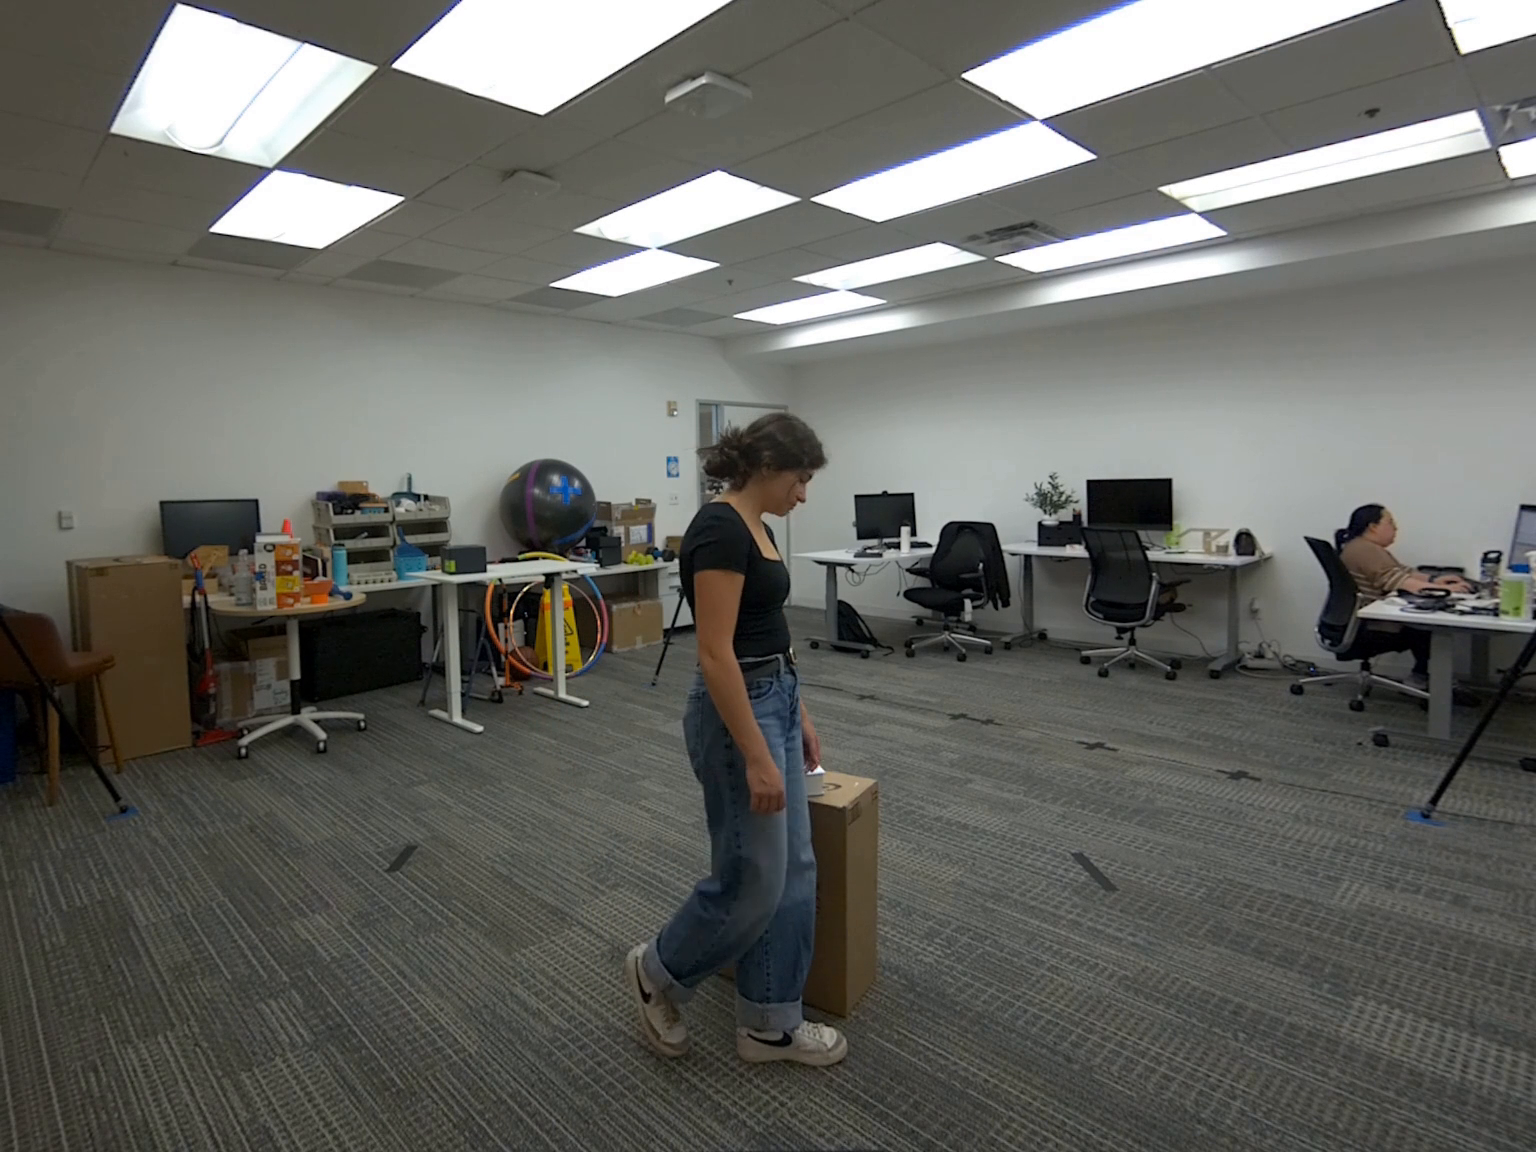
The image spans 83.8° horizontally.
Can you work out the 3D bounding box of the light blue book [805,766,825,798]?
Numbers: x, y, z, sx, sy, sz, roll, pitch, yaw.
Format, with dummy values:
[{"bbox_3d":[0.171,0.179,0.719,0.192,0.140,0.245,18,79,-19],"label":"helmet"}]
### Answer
[{"bbox_3d":[0.042,0.544,2.362,0.189,0.058,0.265,-3,8,-12],"label":"light blue book"}]
